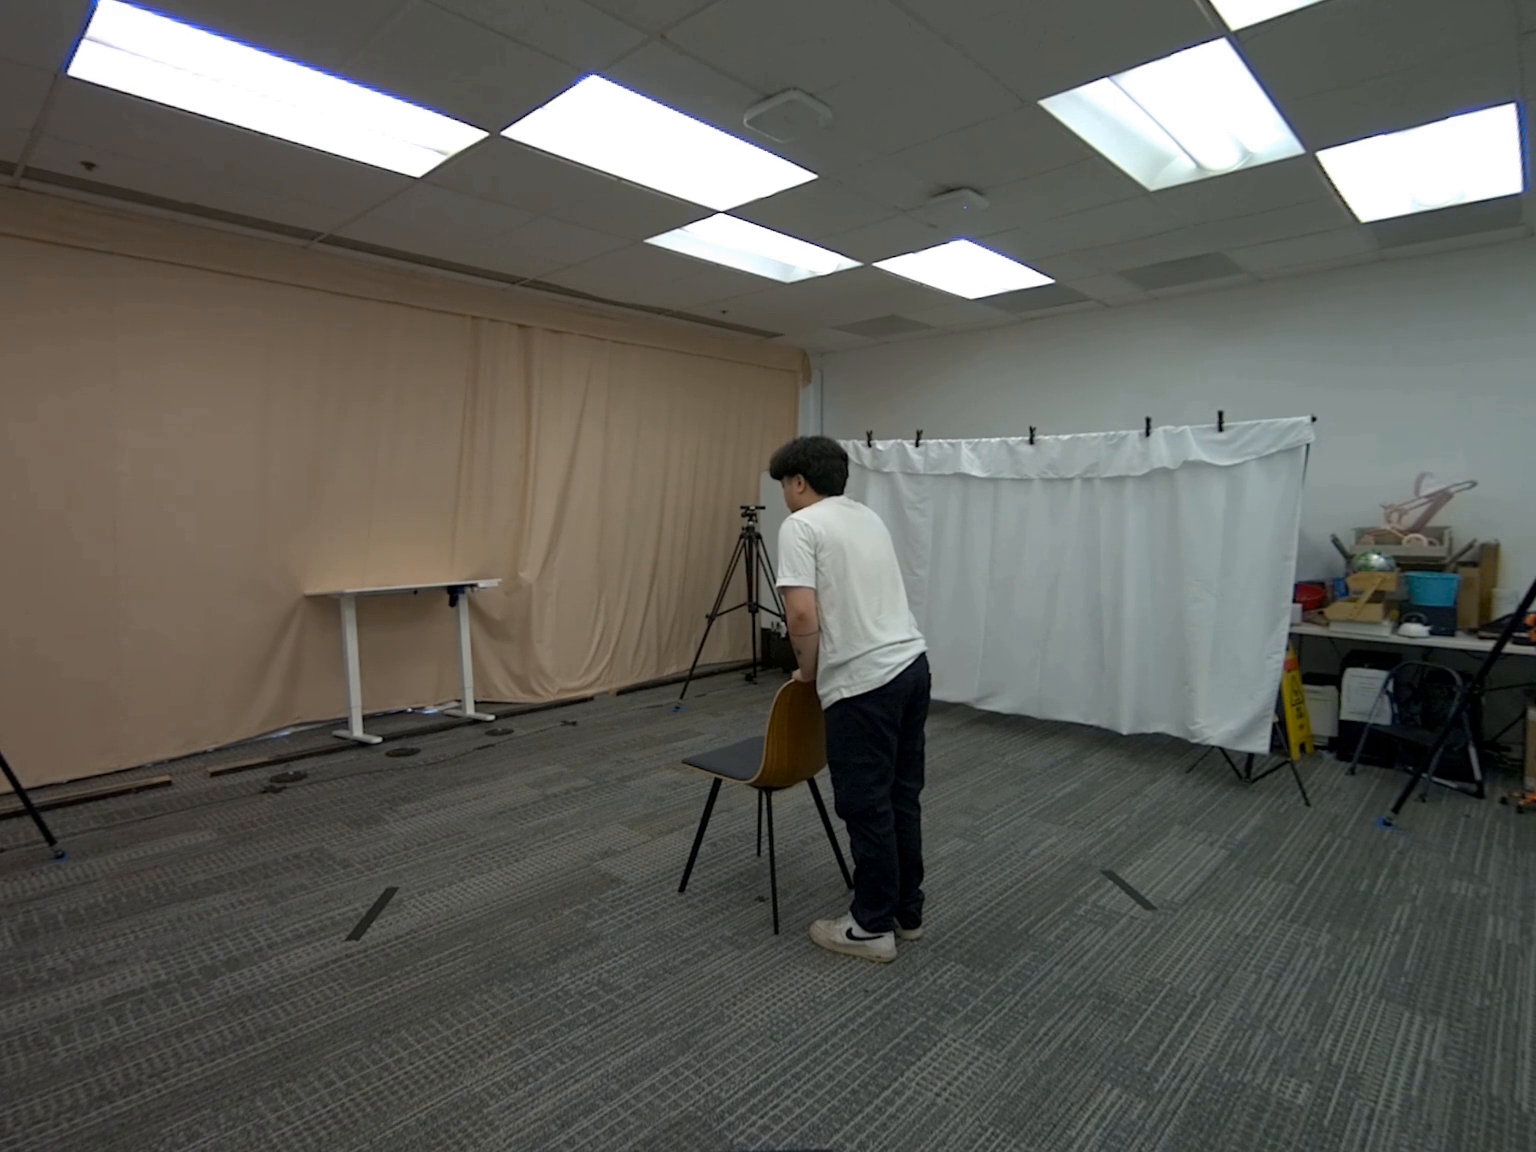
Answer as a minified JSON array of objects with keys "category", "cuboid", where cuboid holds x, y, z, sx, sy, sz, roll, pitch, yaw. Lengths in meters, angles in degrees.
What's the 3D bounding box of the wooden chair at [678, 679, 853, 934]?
[{"category":"wooden chair","cuboid":[-0.011,0.716,3.025,0.541,0.874,0.463,9,9,41]}]
